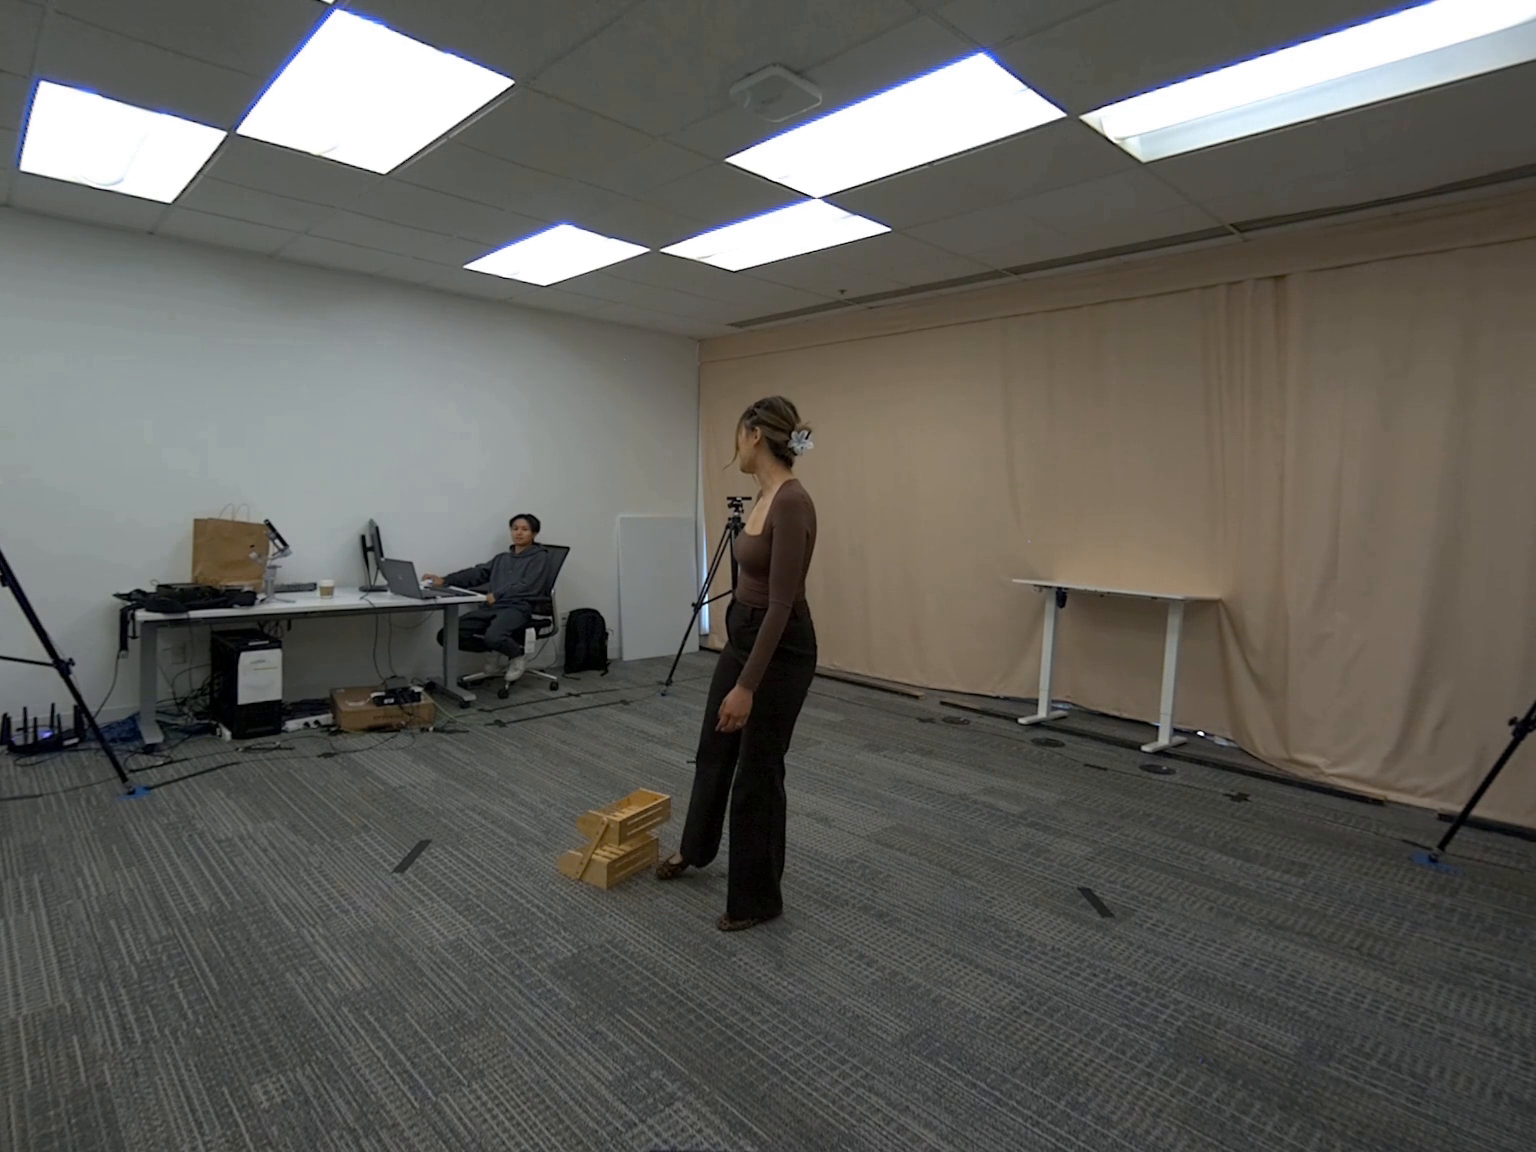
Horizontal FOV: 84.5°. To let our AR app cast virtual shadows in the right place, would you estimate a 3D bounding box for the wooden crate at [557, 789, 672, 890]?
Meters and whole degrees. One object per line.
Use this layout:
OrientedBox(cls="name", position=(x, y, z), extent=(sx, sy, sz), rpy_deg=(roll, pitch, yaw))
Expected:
OrientedBox(cls="wooden crate", position=(-0.581, 0.955, 3.144), extent=(0.309, 0.272, 0.318), rpy_deg=(5, 5, 32))
